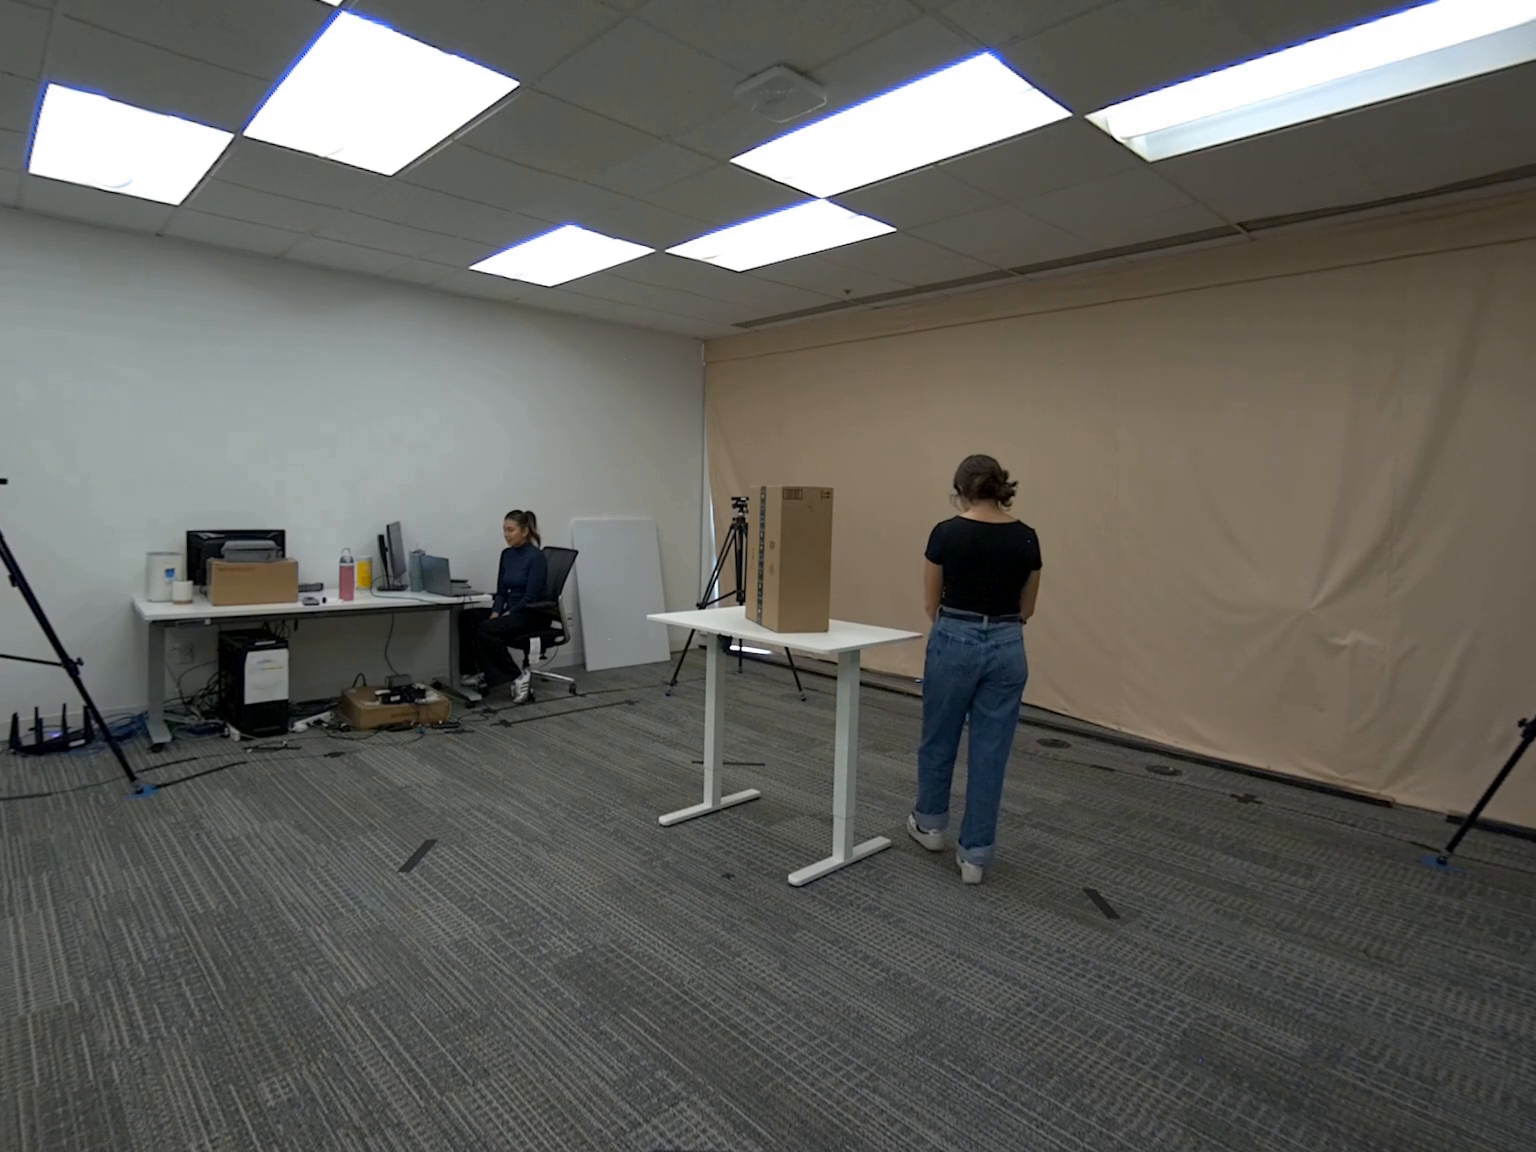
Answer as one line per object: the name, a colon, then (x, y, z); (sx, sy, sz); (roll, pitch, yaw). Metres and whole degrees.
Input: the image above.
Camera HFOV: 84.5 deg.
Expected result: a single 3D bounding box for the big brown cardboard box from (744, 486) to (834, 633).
big brown cardboard box: (0.071, -0.077, 3.425); (0.230, 0.587, 0.424); (0, 5, -18)
